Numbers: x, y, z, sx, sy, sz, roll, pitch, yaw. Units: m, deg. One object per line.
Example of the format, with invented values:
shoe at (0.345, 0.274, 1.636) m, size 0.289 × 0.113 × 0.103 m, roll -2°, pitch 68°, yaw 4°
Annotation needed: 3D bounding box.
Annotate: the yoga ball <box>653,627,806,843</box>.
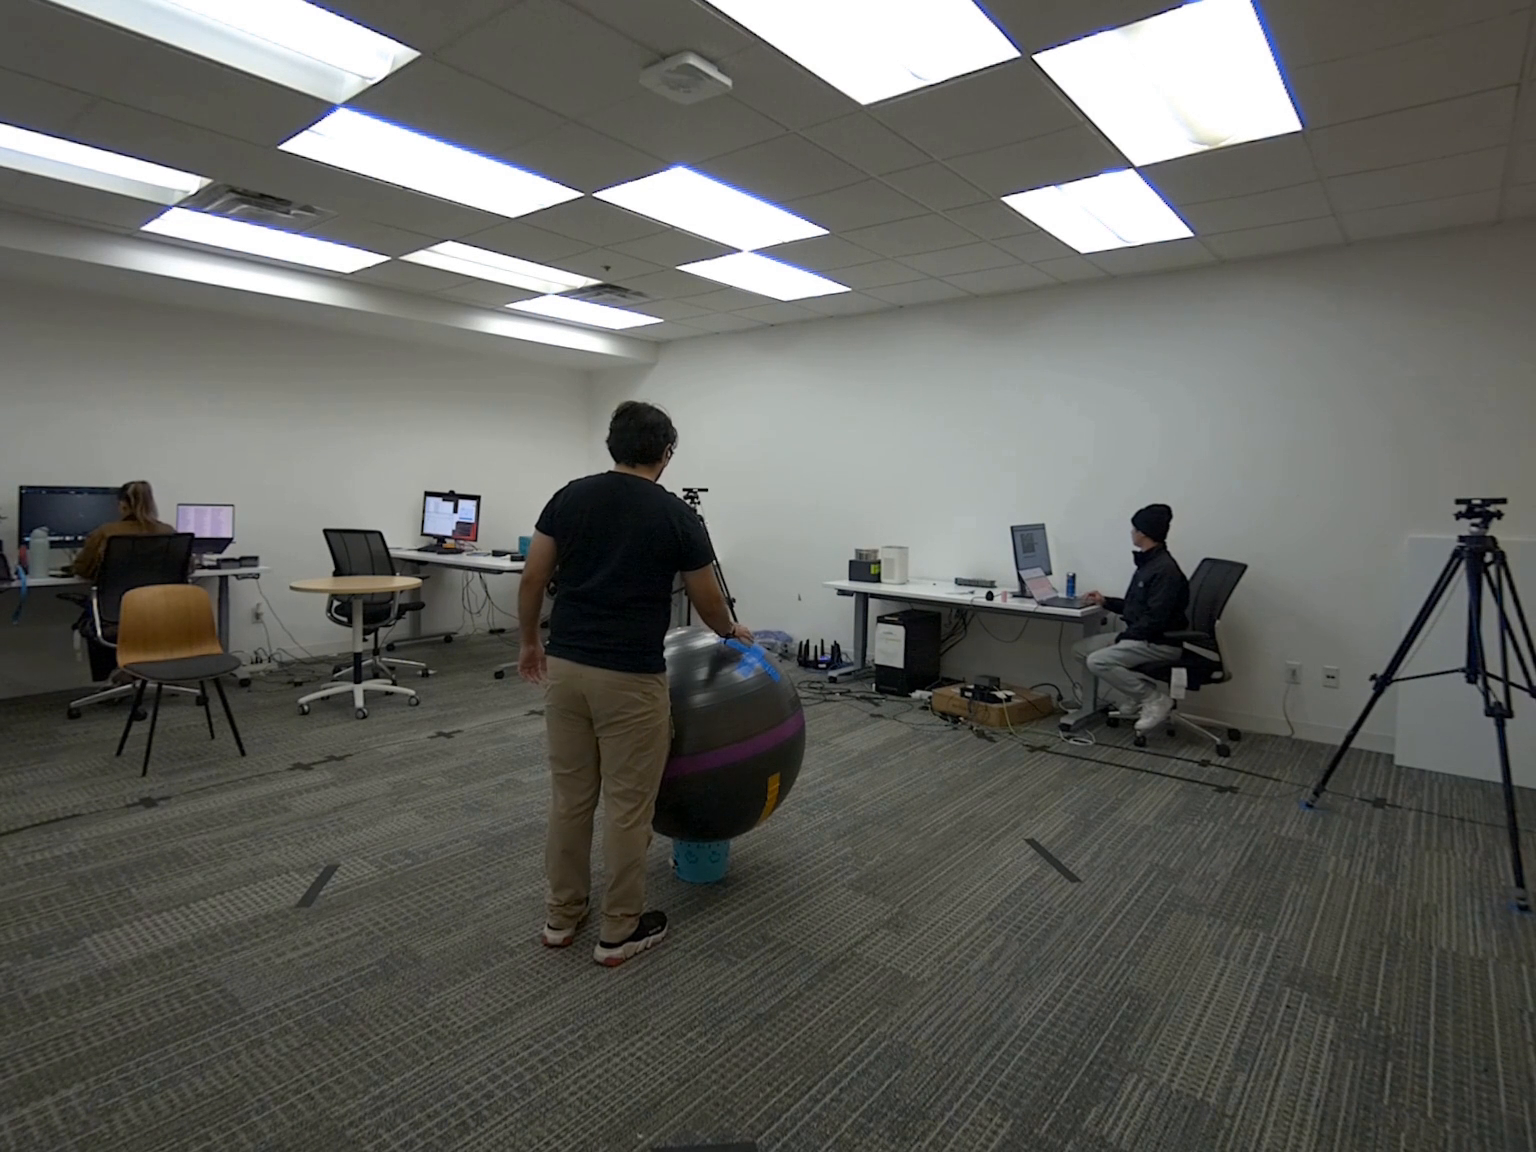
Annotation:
yoga ball at (-0.259, 0.563, 3.075) m, size 0.757 × 0.756 × 0.762 m, roll 1°, pitch 4°, yaw -2°
